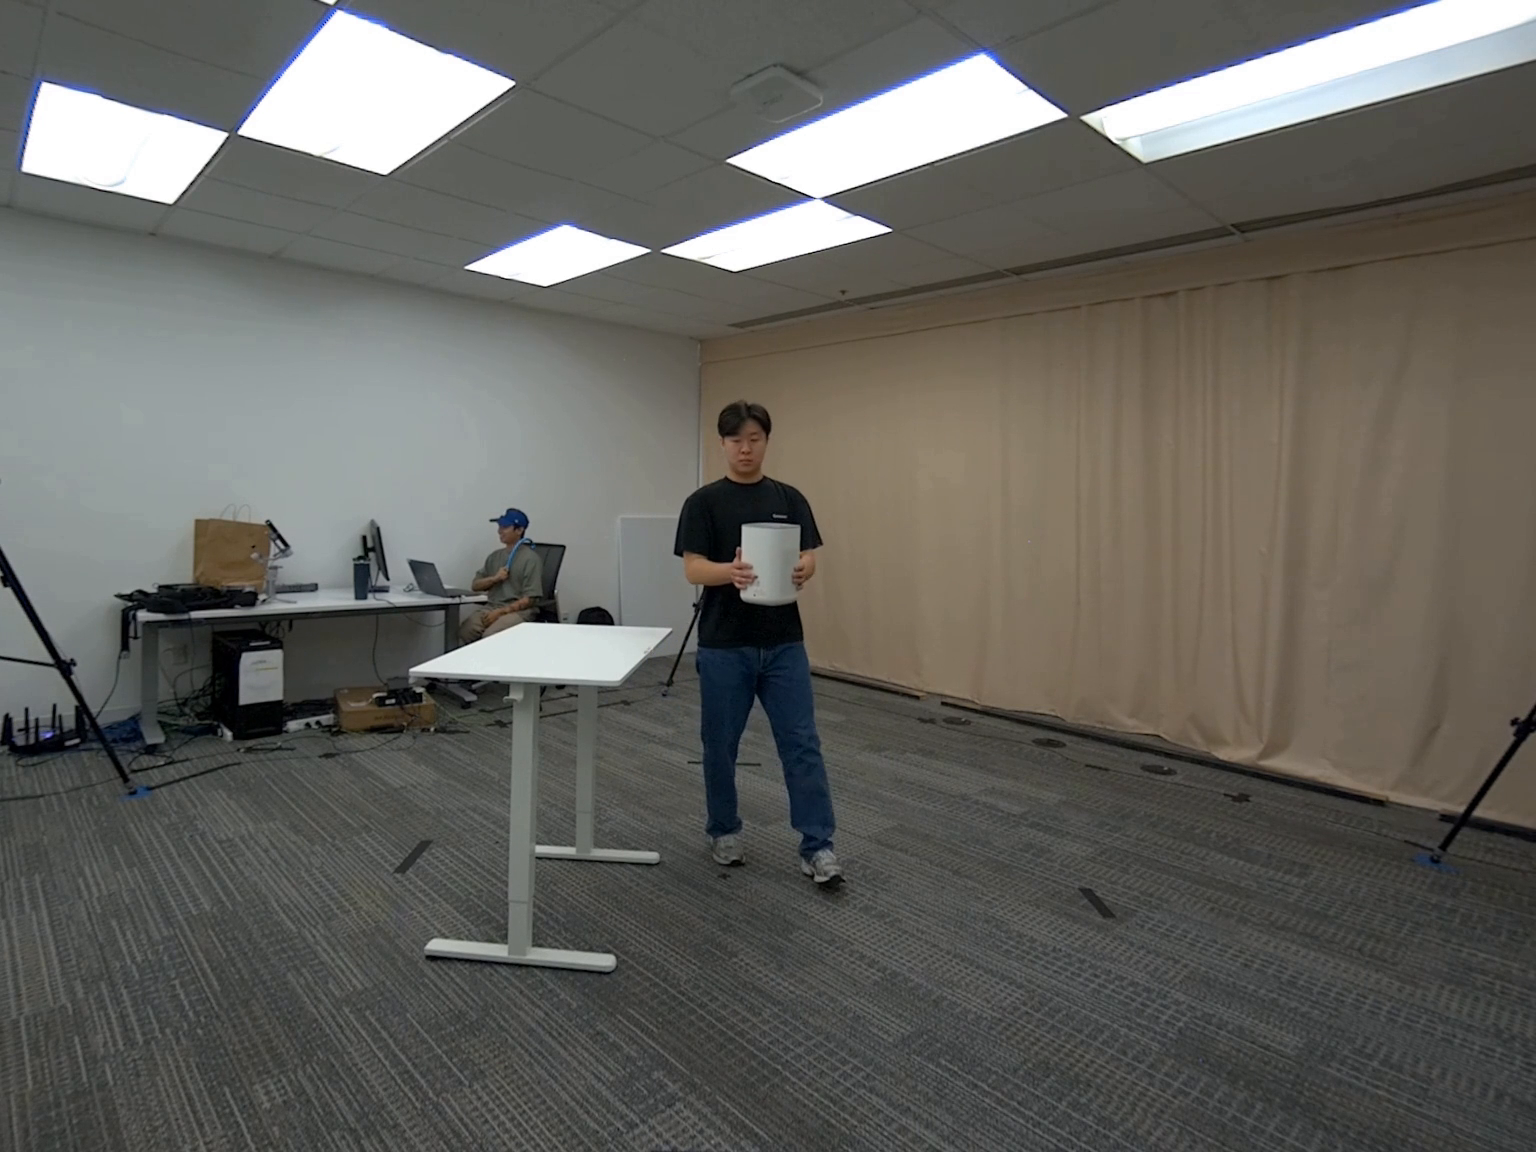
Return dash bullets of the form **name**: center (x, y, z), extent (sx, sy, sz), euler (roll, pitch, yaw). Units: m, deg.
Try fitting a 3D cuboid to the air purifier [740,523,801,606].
- **air purifier**: center (-0.001, -0.044, 2.868), extent (0.175, 0.264, 0.168), euler (5, 8, 34)
